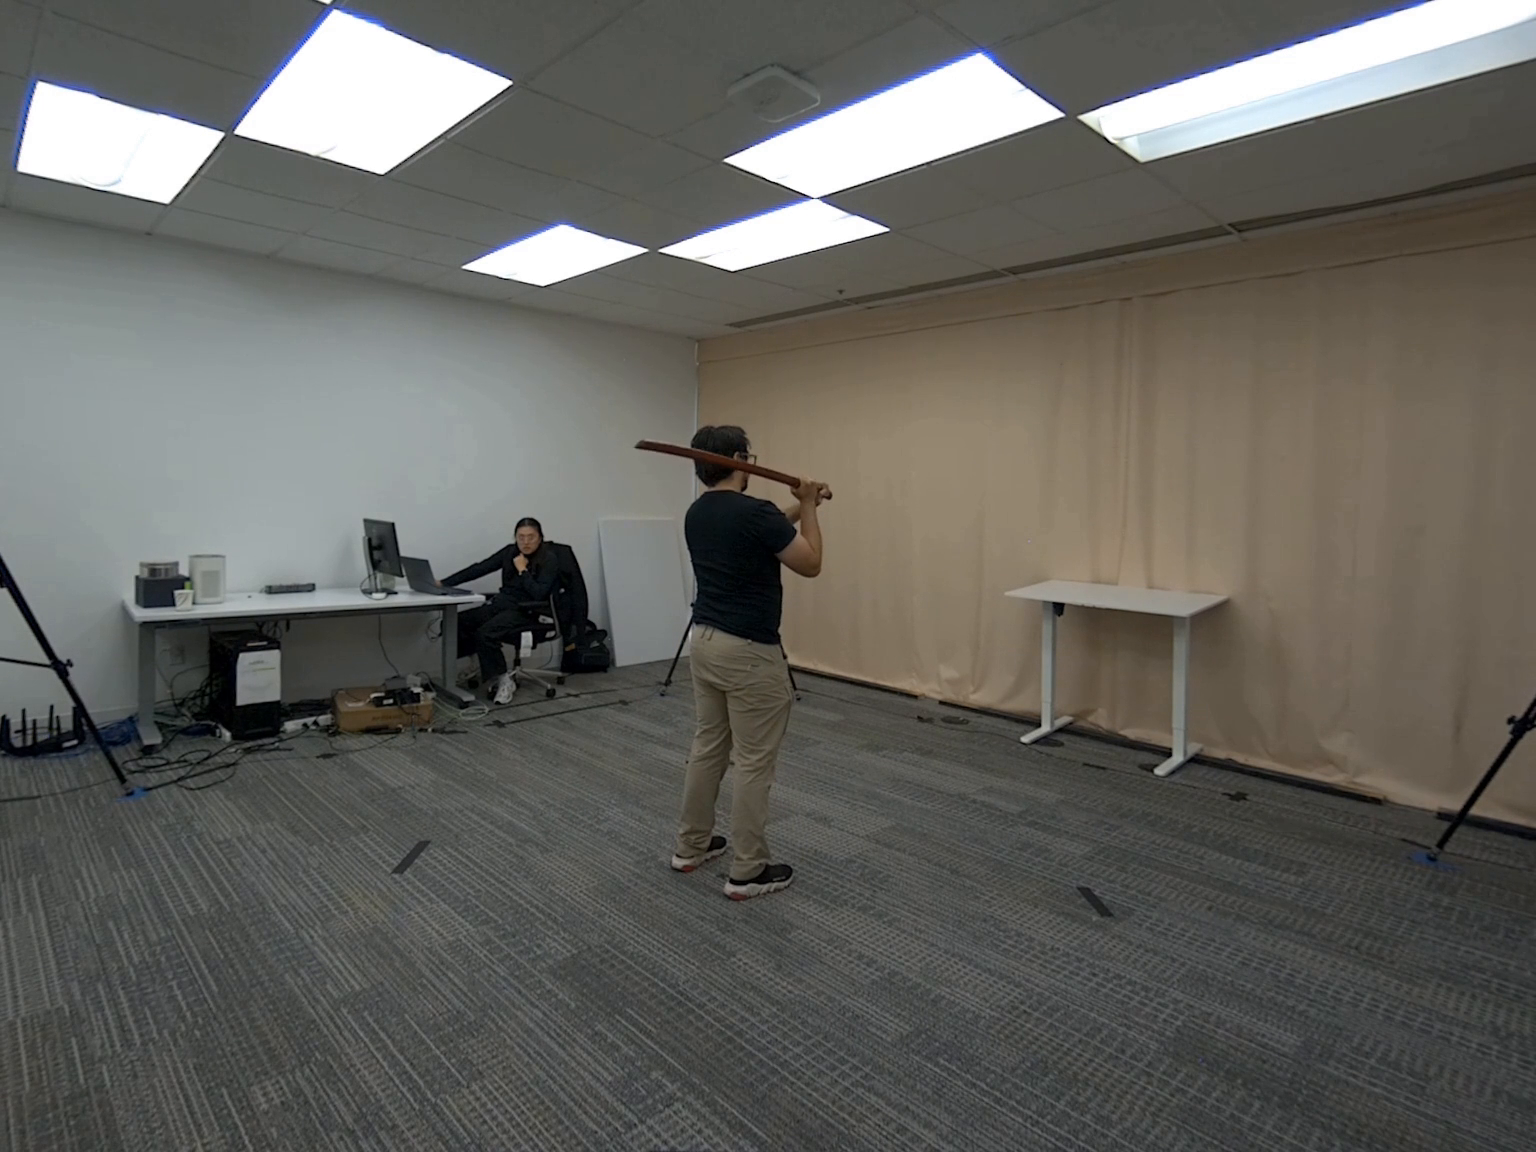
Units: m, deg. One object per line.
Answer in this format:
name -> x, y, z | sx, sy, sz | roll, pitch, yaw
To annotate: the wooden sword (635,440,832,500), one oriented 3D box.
wooden sword -> -0.077, -0.364, 2.805 | 0.051, 0.024, 0.999 | -36, -25, 34
